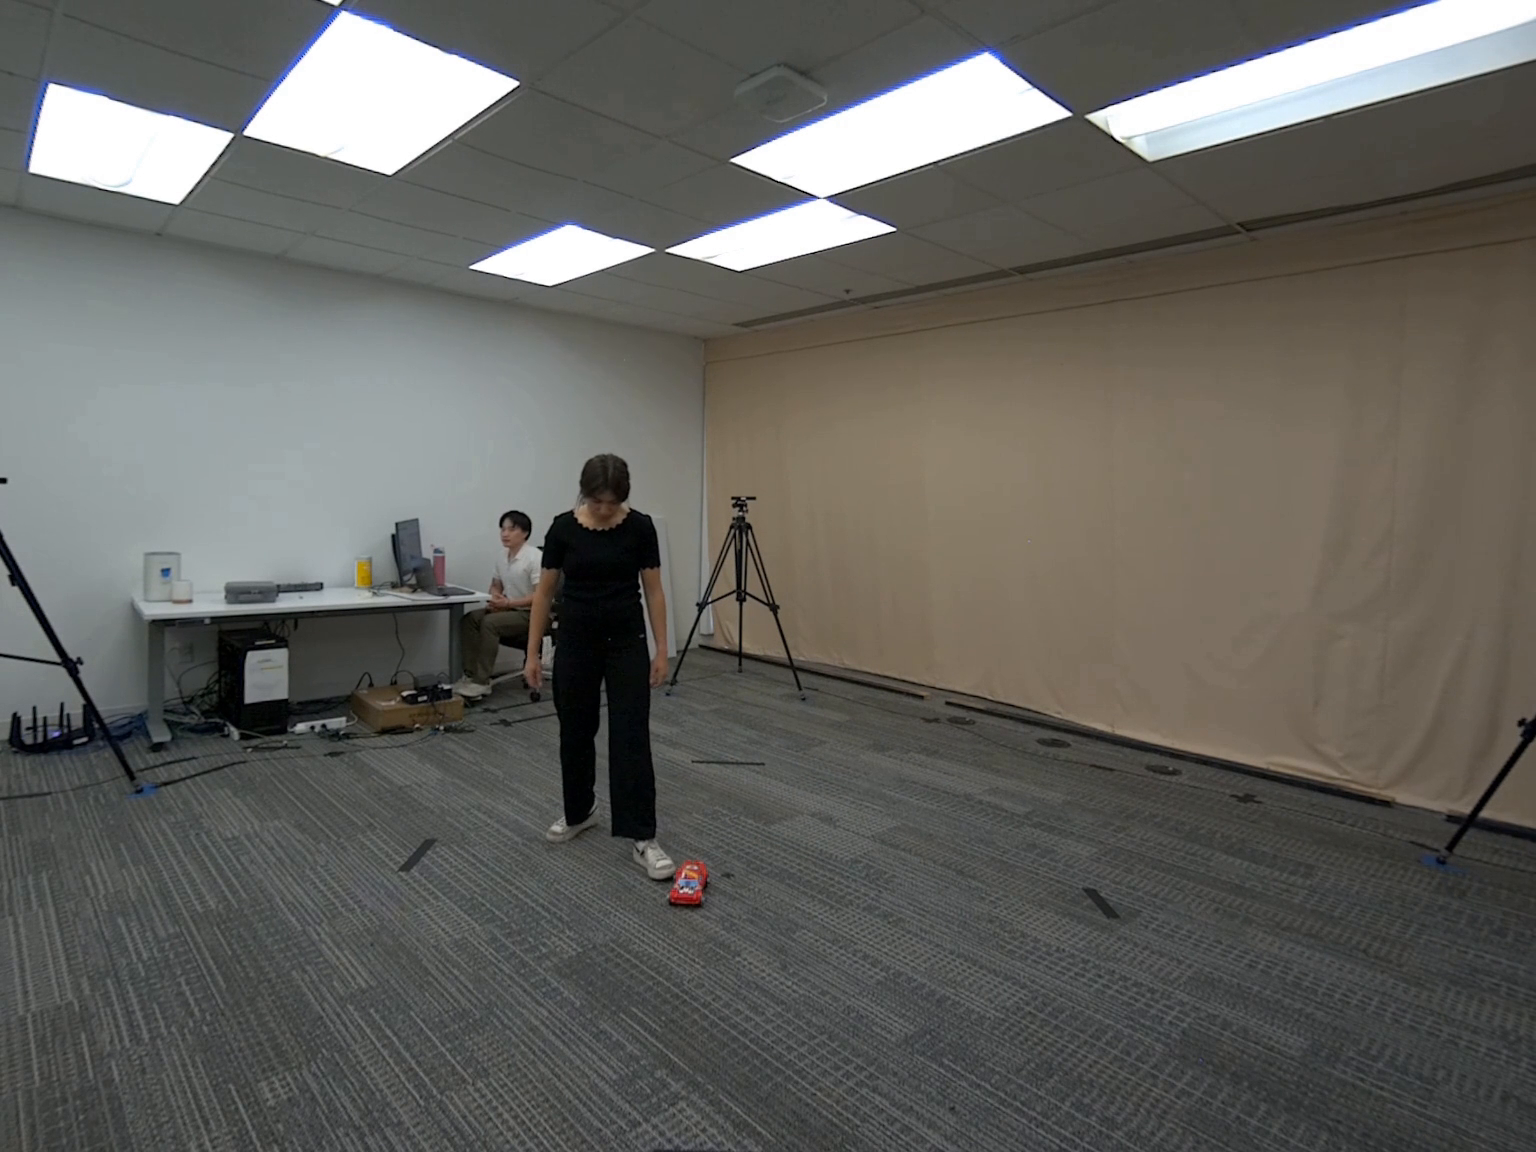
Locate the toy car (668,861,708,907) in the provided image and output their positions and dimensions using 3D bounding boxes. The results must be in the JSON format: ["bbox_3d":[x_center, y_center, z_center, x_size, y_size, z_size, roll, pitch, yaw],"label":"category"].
[{"bbox_3d":[-0.285,1.085,2.961,0.131,0.082,0.256,3,16,4],"label":"toy car"}]
